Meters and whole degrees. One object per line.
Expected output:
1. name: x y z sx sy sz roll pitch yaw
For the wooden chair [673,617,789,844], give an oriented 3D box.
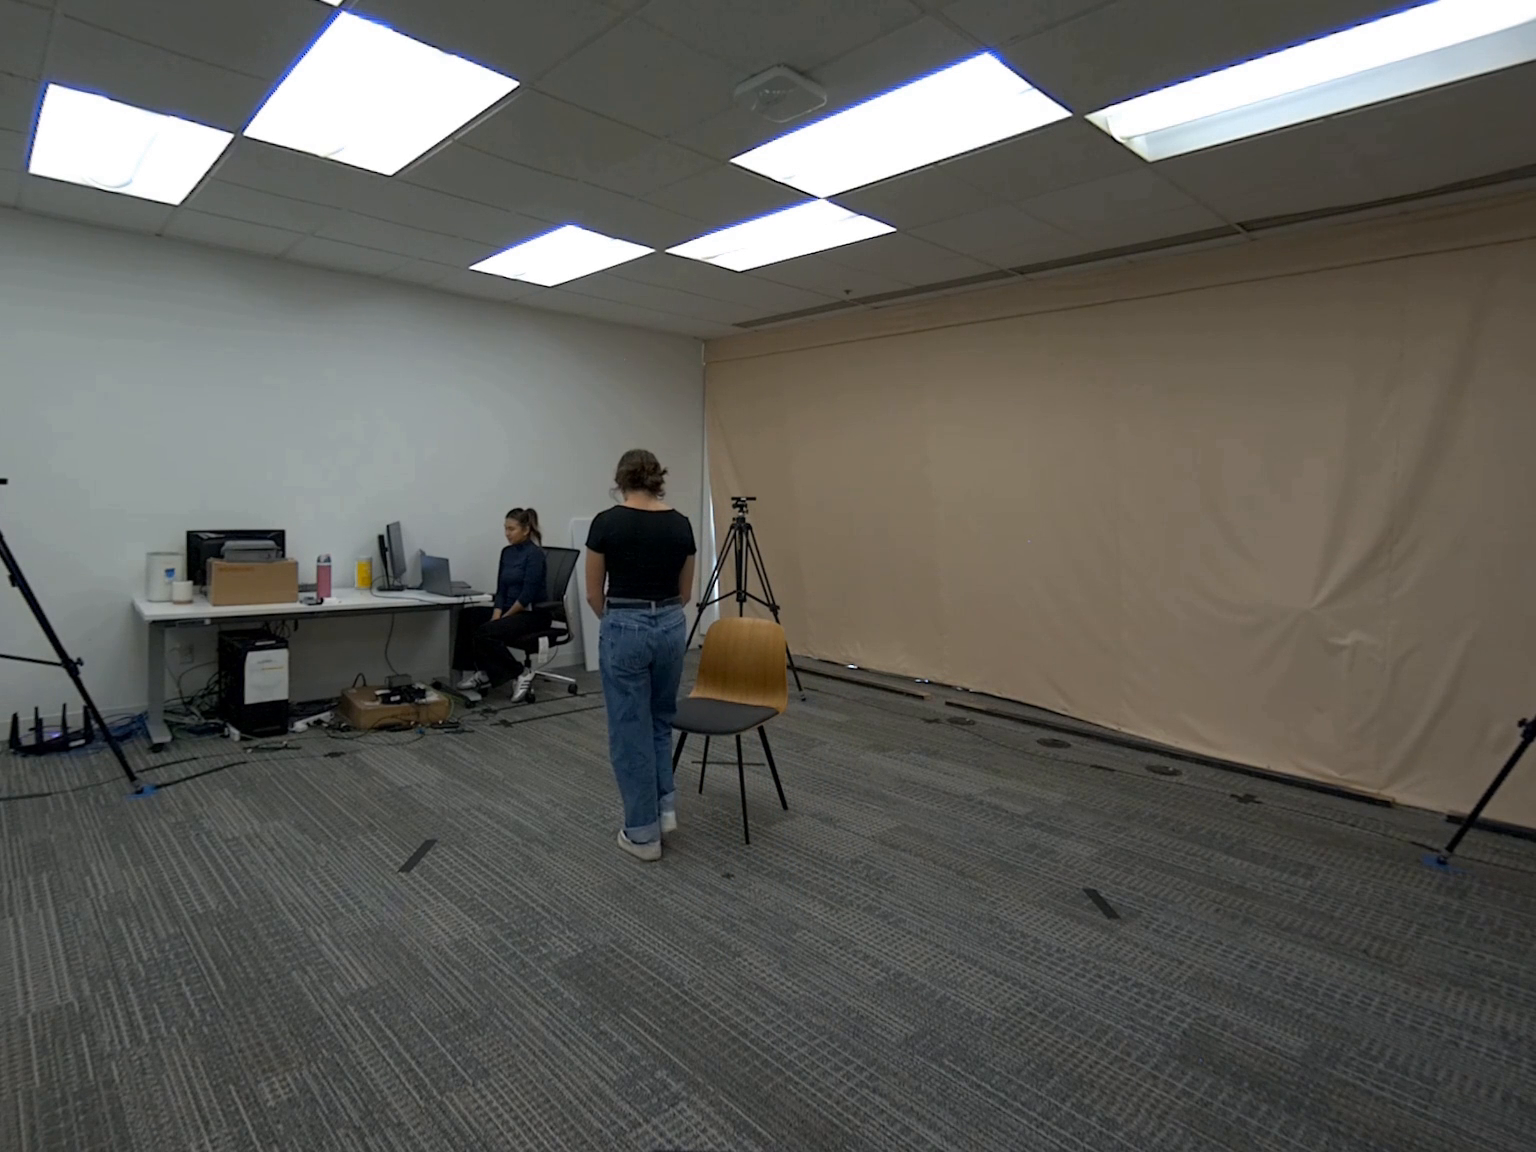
1. wooden chair: -0.196 0.631 3.651 0.487 0.878 0.513 3 -1 24
